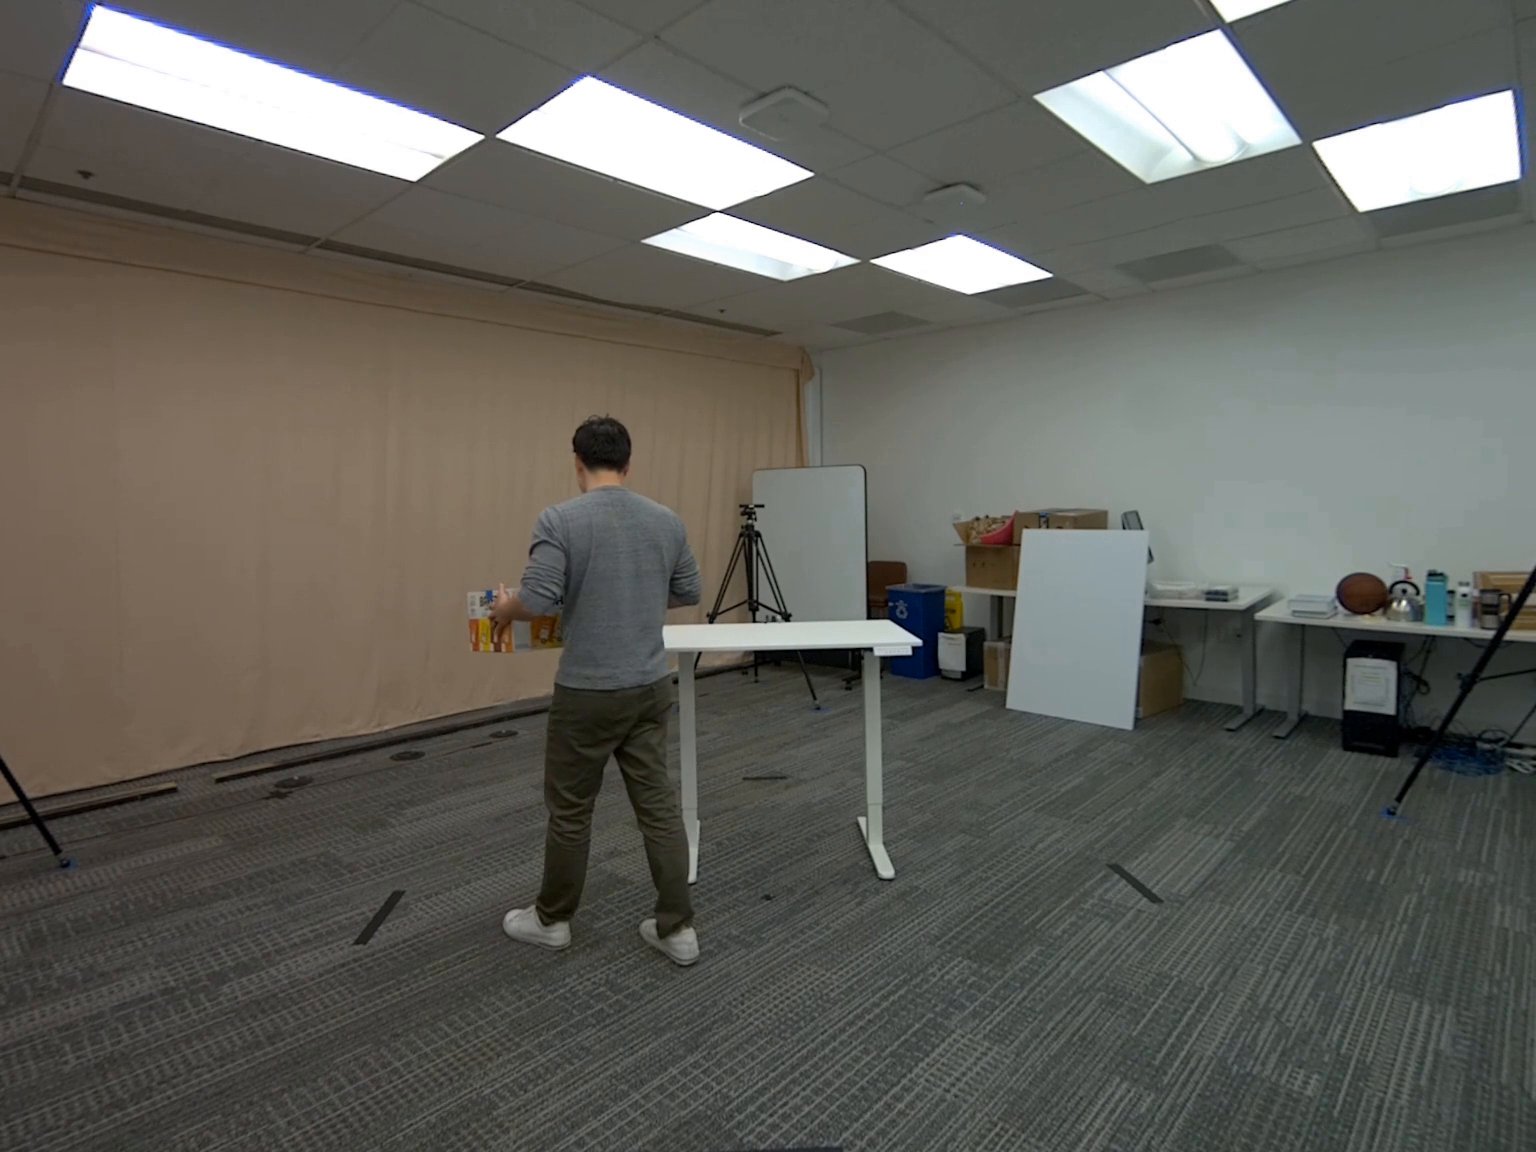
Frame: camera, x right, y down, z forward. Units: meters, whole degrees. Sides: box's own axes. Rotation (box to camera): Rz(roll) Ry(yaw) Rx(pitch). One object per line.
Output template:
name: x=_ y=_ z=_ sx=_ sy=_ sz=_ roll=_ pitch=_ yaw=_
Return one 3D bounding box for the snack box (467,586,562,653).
snack box: x=-0.768 y=0.139 z=2.881 sx=0.393 sy=0.206 sz=0.350 roll=-3 pitch=-1 yaw=-41
